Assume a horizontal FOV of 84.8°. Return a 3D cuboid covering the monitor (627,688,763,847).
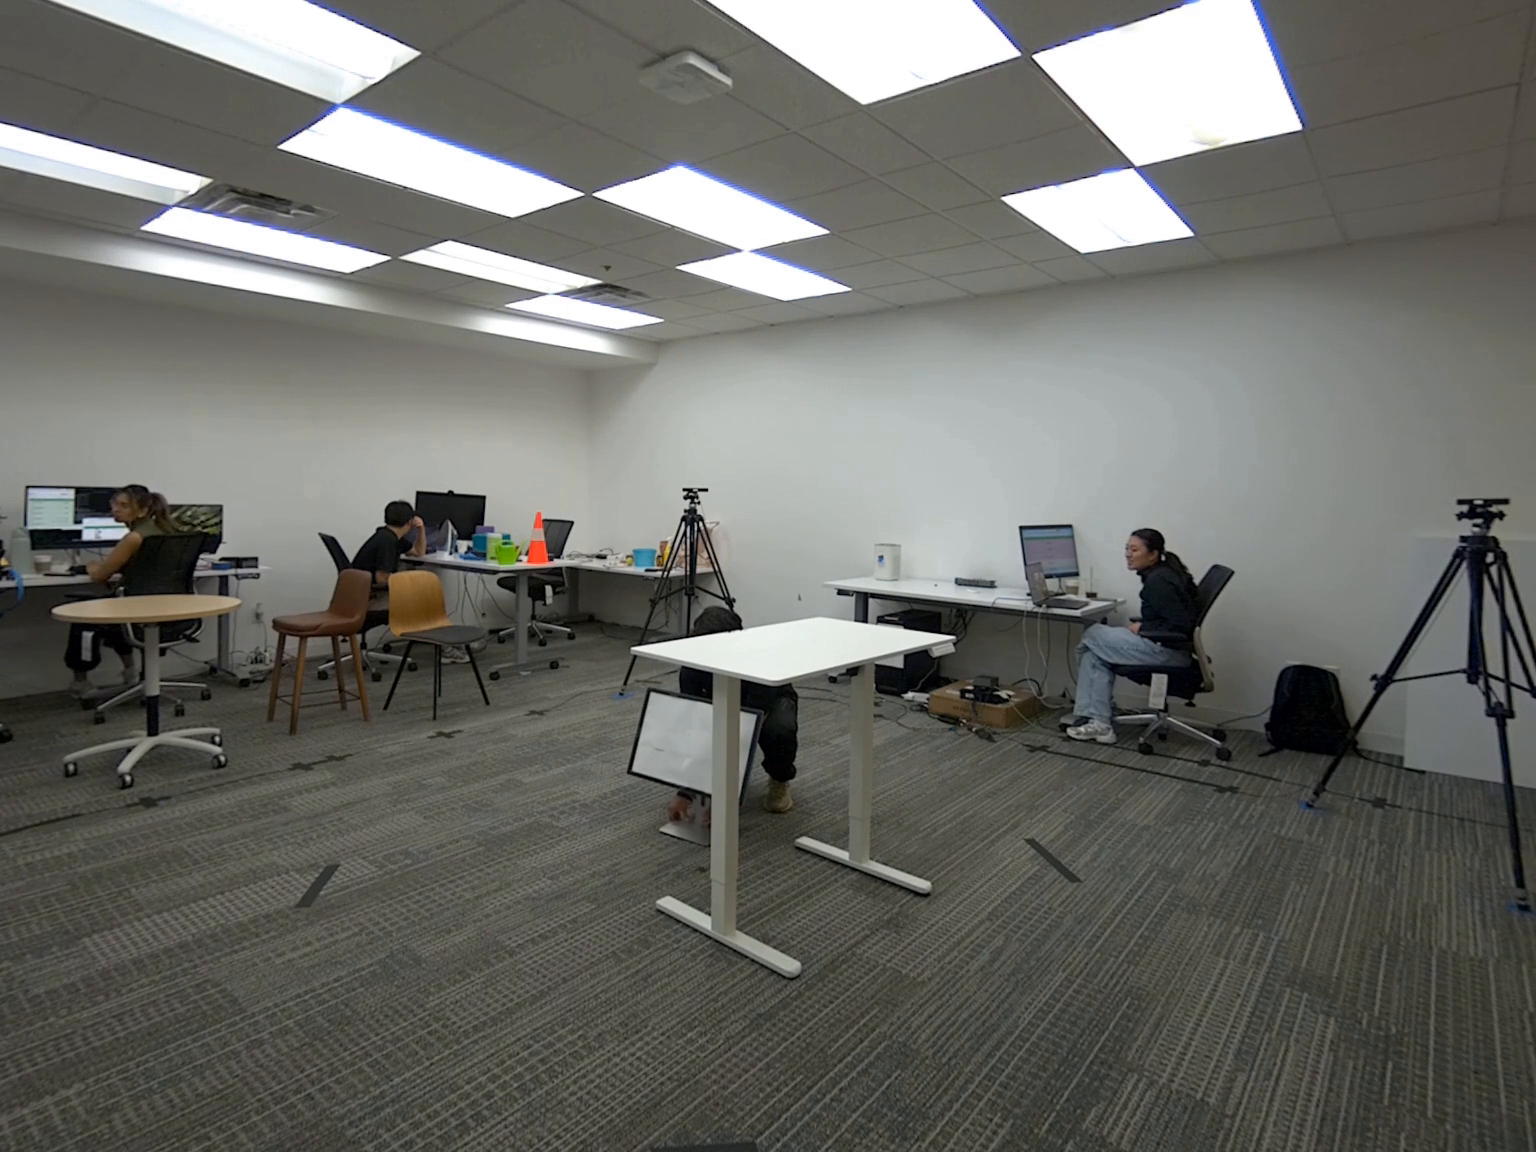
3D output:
[{"bbox_3d":[-0.280,0.763,3.458,0.583,0.555,0.203,5,-3,32],"label":"monitor"}]
